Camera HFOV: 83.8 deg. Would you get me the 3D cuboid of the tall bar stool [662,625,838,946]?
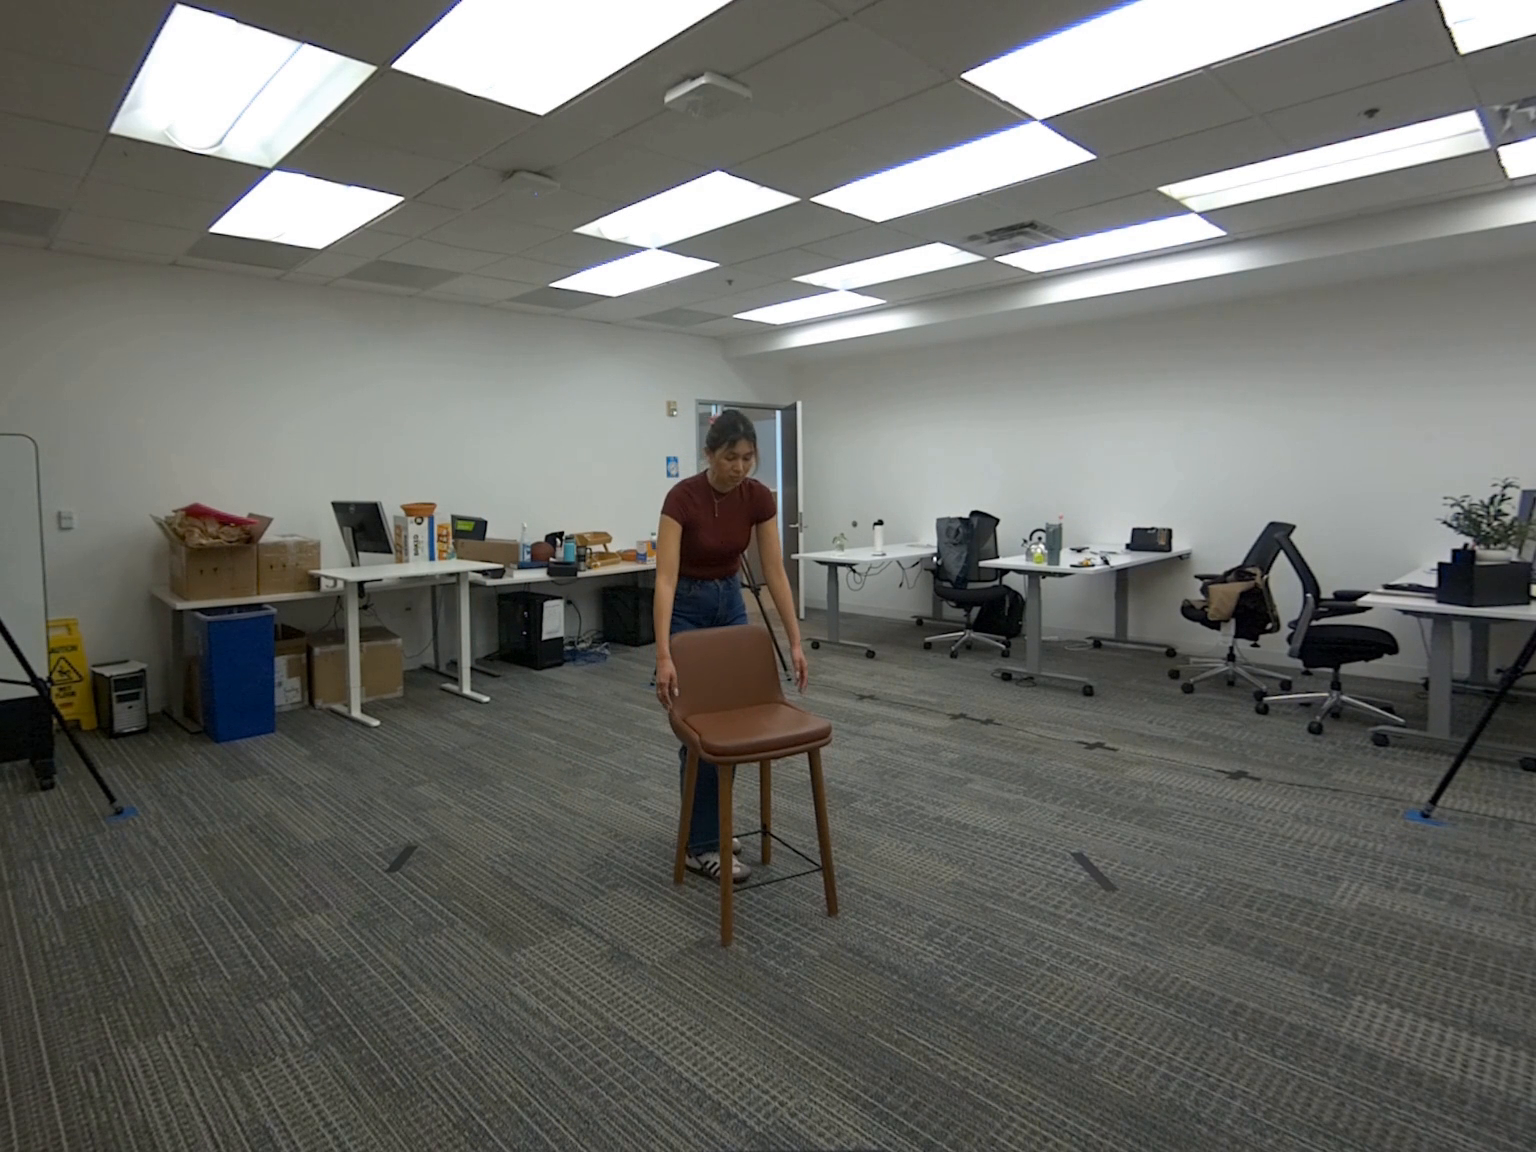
[{"bbox_3d":[-0.067,0.641,2.823,0.446,0.888,0.479,-3,3,-27],"label":"tall bar stool"}]
